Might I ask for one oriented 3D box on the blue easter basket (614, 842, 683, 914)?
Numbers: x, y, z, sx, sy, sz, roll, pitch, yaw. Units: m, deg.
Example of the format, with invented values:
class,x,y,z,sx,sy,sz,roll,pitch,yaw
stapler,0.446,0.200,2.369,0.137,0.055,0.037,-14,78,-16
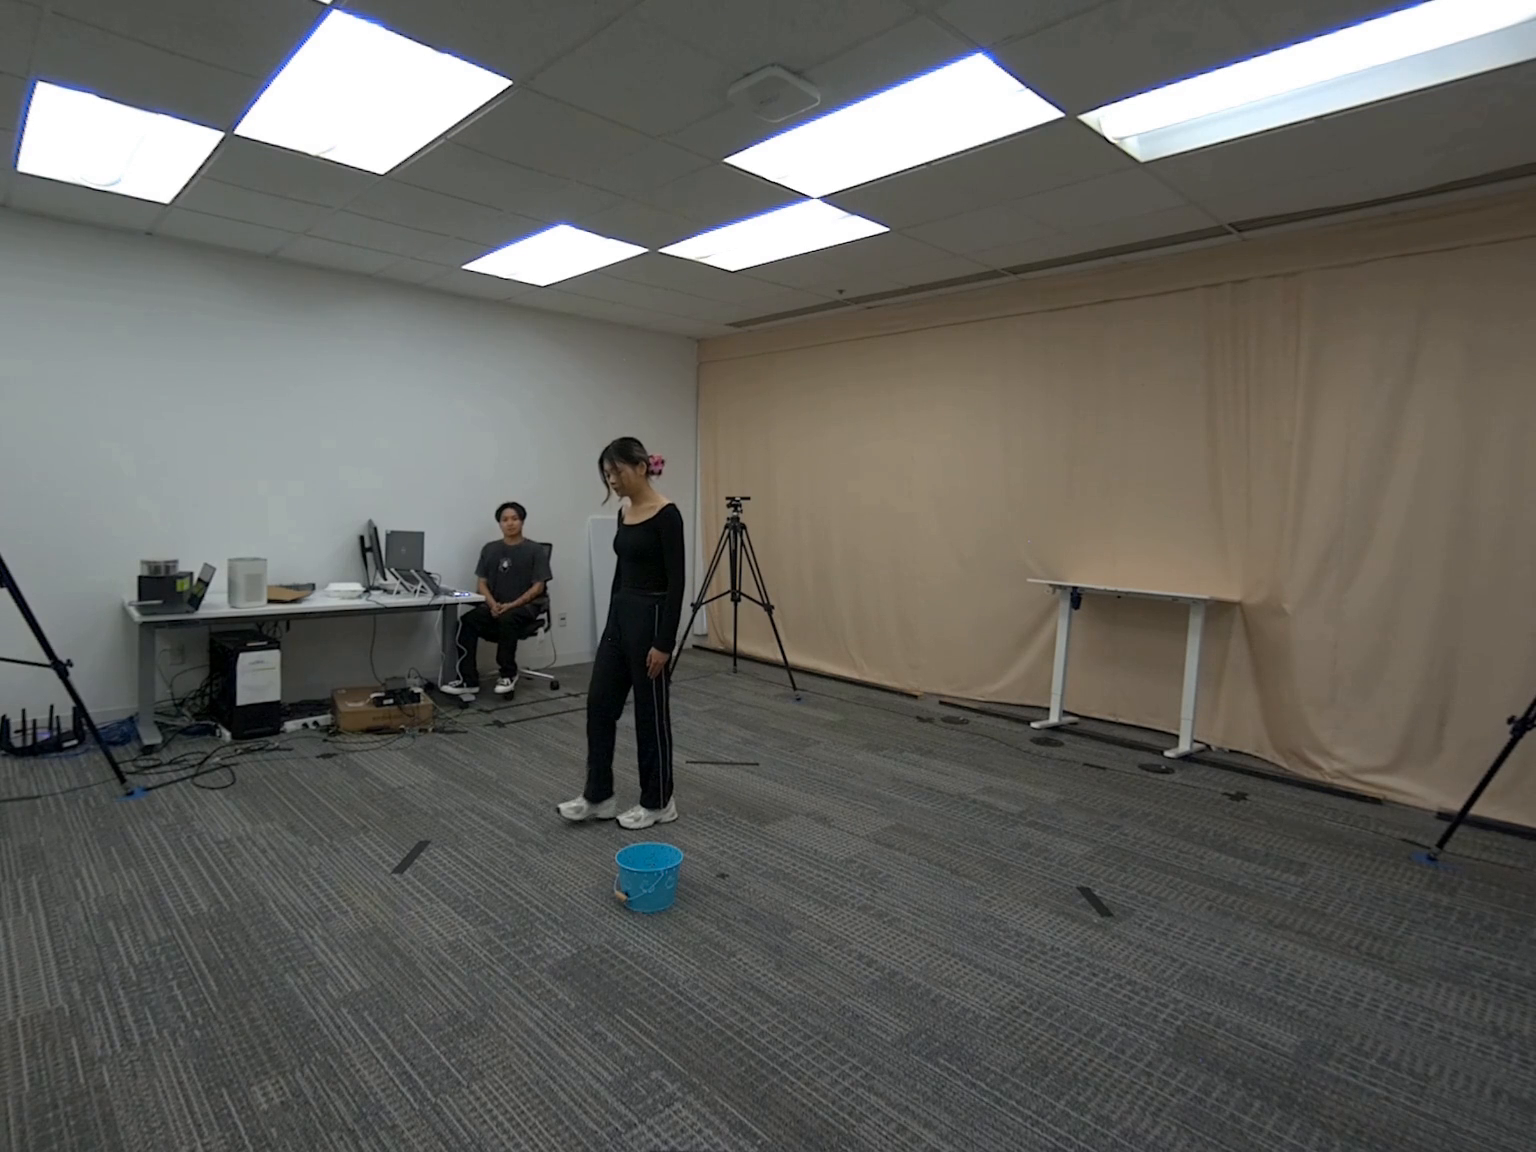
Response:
class,x,y,z,sx,sy,sz,roll,pitch,yaw
blue easter basket,-0.425,1.041,2.907,0.243,0.155,0.244,1,4,-1
